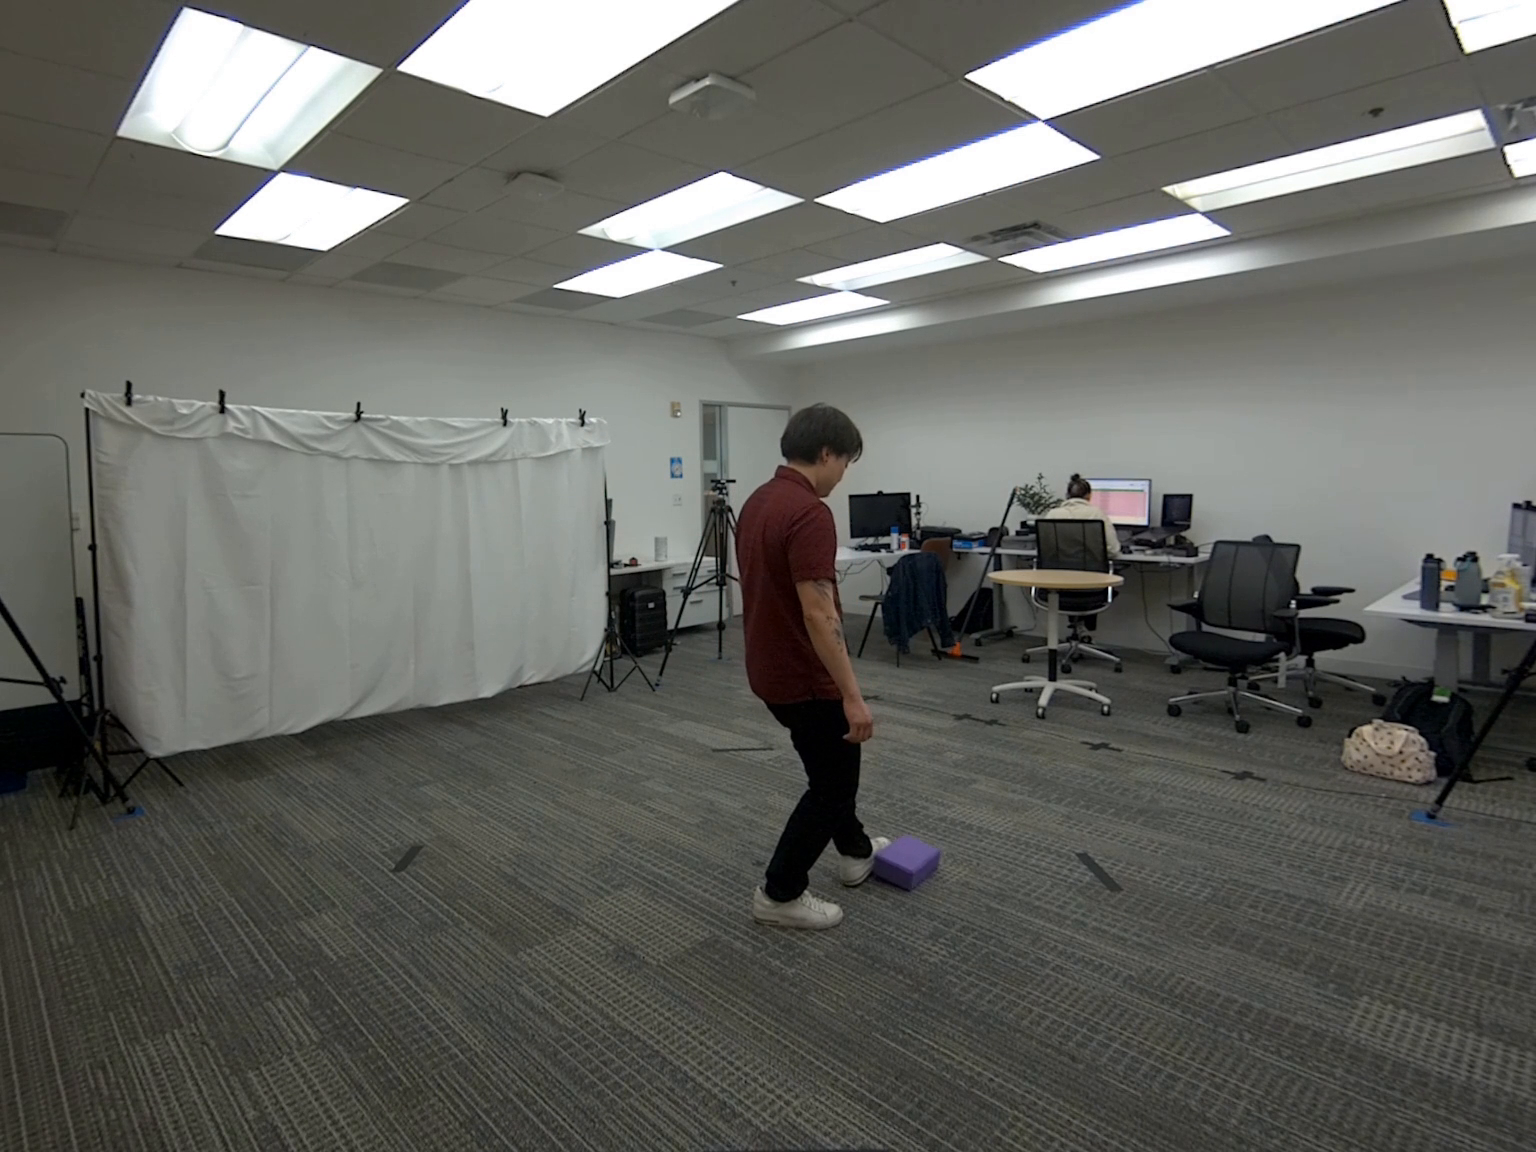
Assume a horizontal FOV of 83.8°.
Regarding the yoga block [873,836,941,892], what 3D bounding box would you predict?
[{"bbox_3d":[0.486,0.995,2.991,0.154,0.076,0.223,13,12,35],"label":"yoga block"}]
